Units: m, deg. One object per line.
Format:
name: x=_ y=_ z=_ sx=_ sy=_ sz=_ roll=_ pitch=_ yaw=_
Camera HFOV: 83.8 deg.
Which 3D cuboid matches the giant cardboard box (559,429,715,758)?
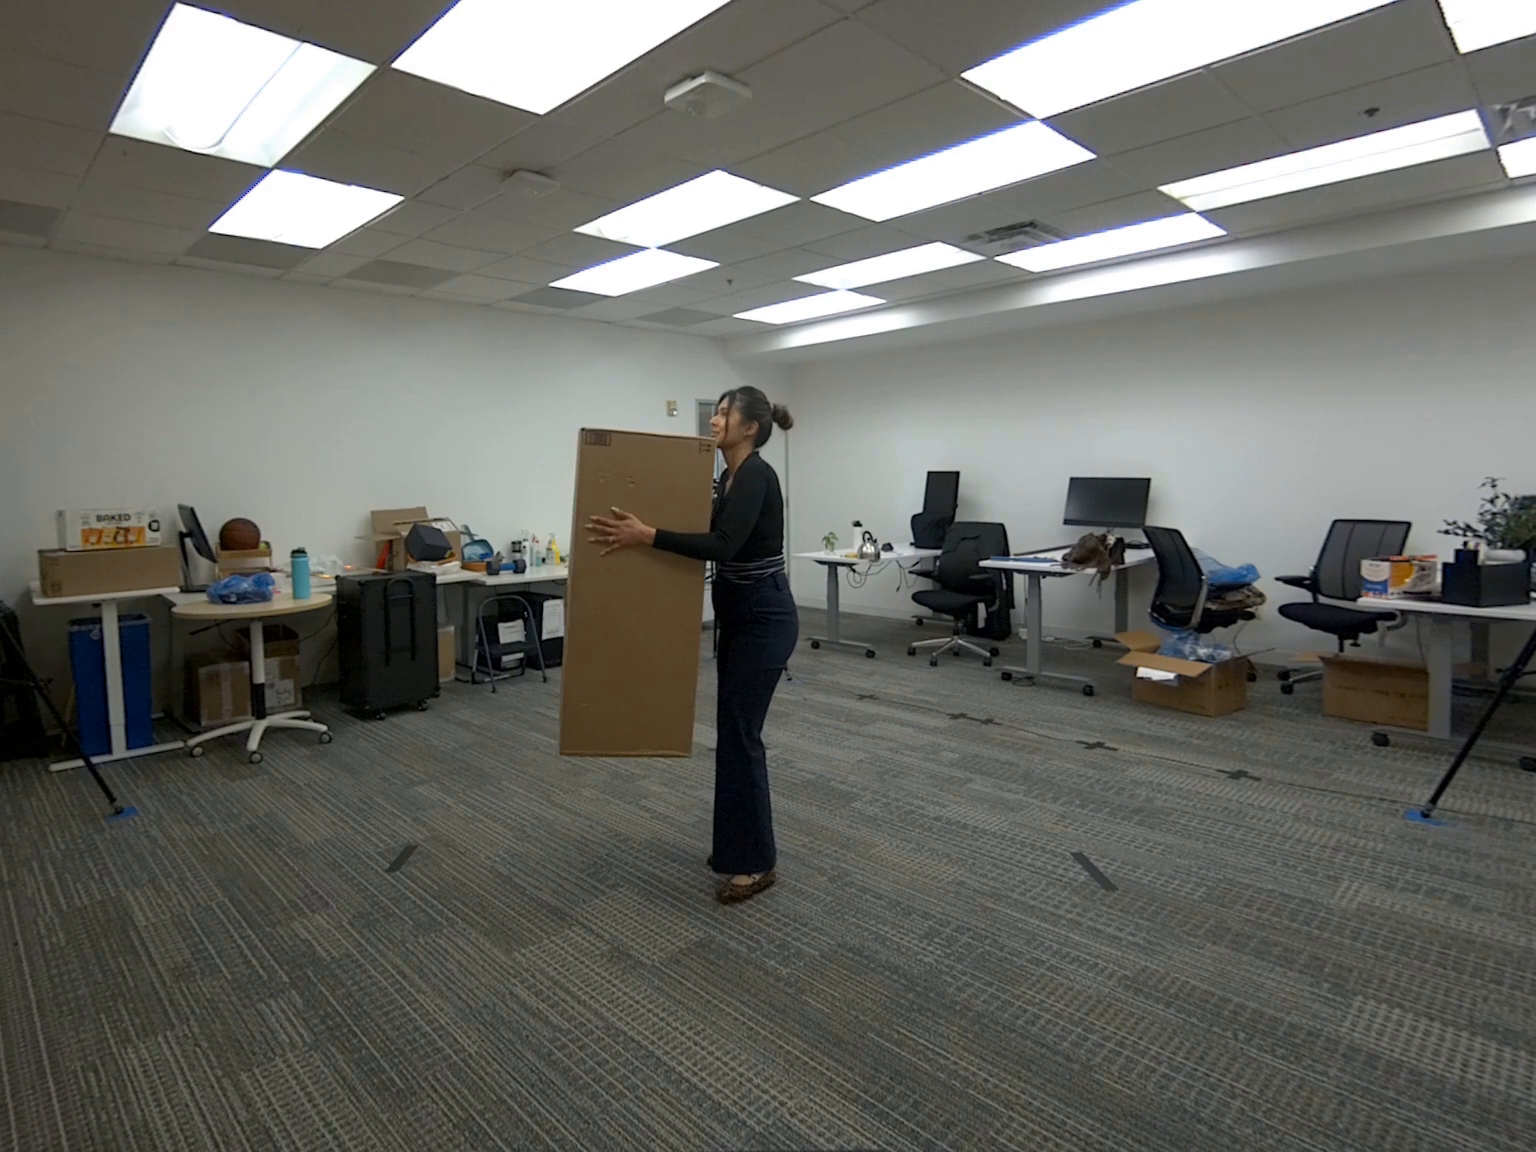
giant cardboard box: x=-0.465 y=0.025 z=2.931 sx=0.422 sy=1.021 sz=0.586 roll=3 pitch=6 yaw=-11
